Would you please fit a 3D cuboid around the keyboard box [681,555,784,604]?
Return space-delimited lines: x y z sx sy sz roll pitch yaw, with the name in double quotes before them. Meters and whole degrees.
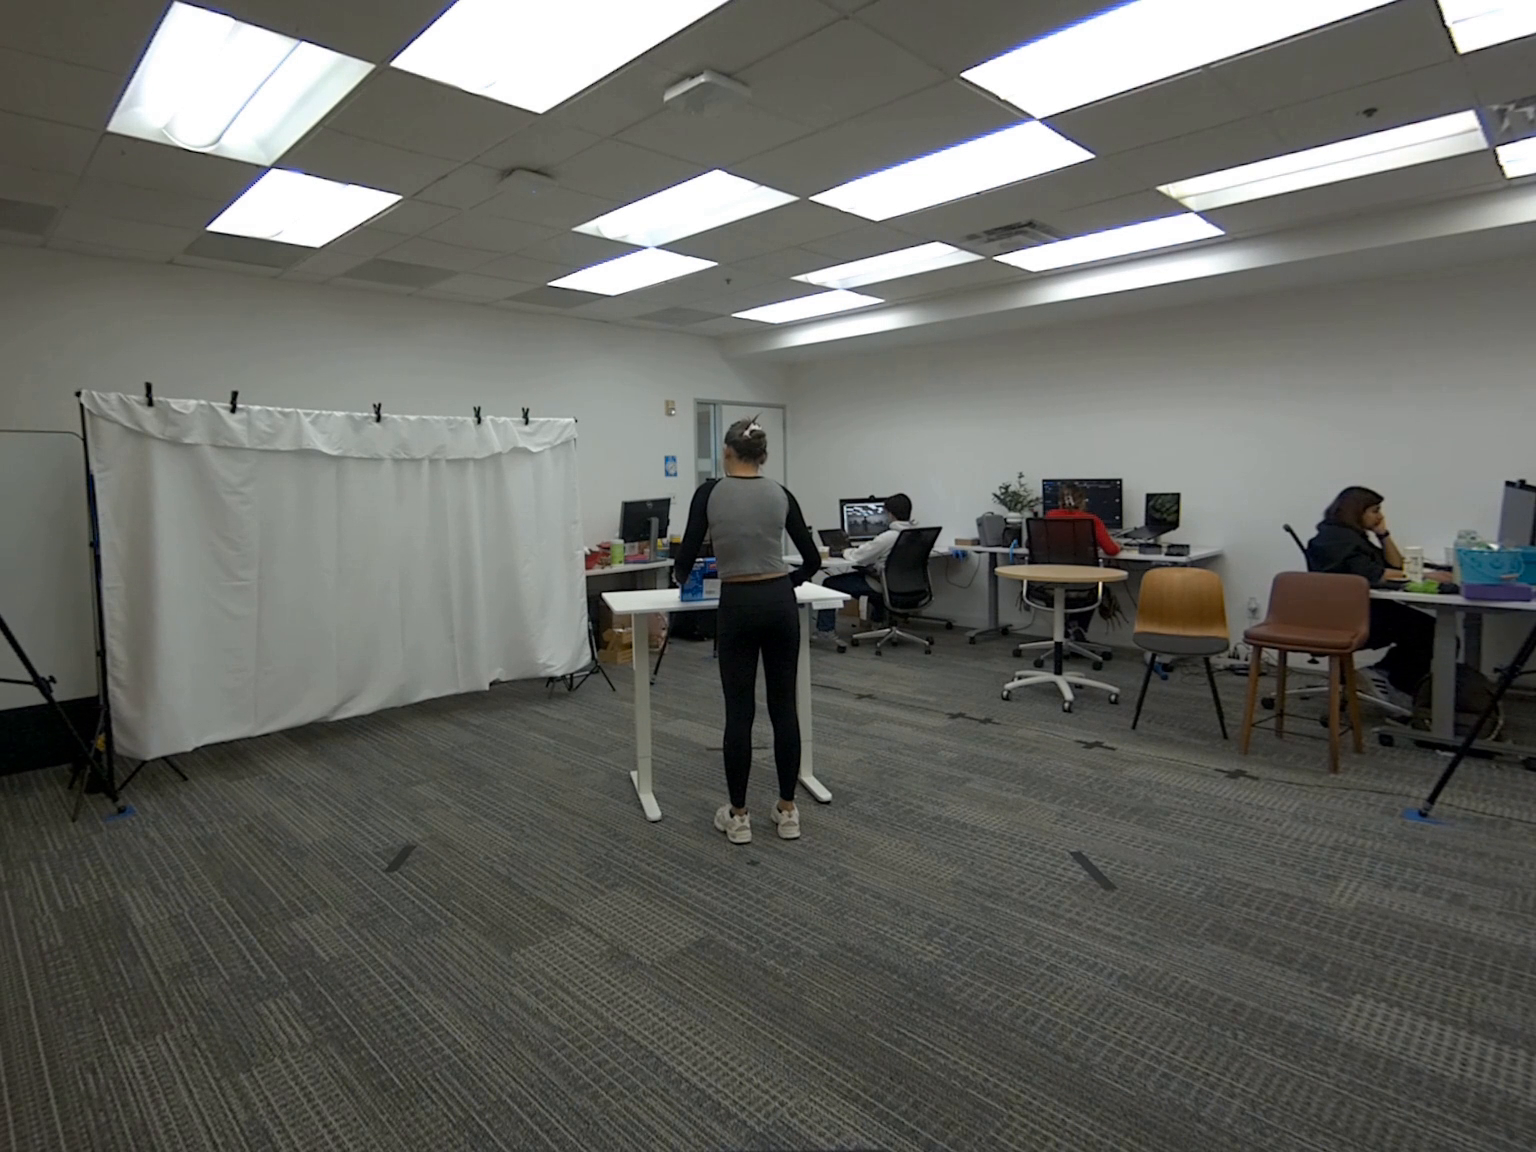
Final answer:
"keyboard box" -0.153 0.008 3.667 0.432 0.174 0.060 -4 8 -12
